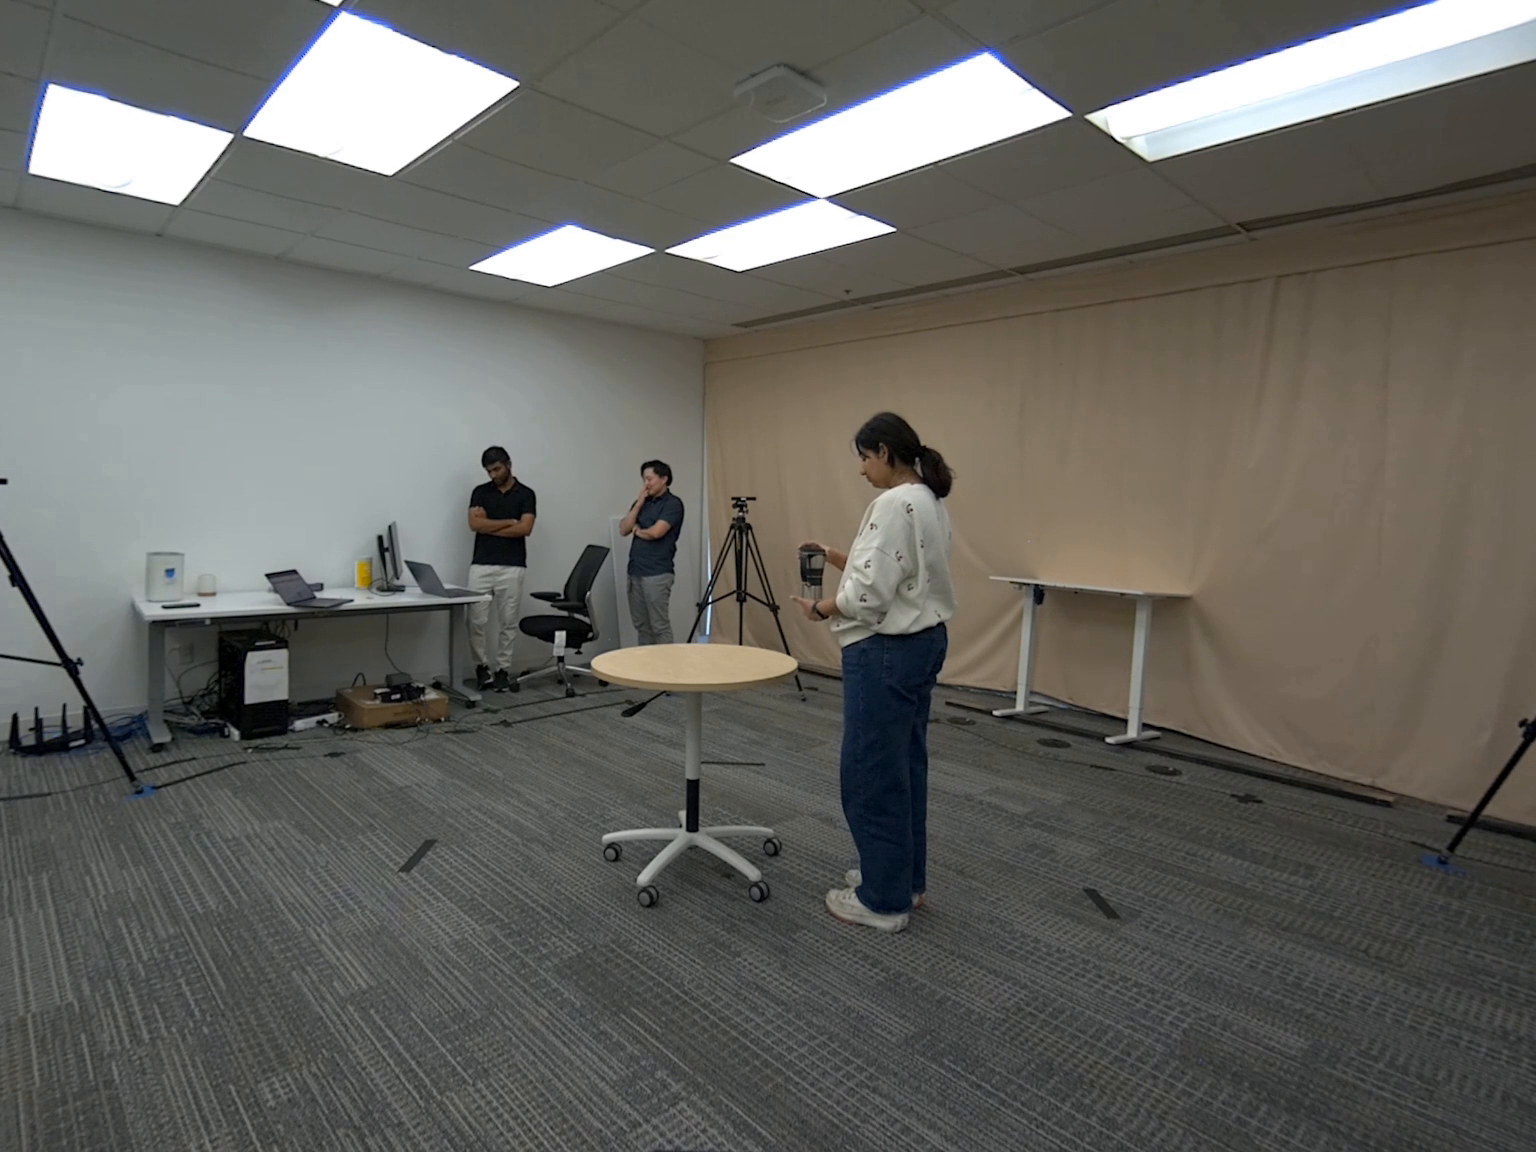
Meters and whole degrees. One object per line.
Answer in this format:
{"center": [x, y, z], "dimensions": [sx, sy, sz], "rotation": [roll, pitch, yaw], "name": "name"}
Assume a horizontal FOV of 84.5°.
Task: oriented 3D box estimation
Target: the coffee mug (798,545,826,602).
{"center": [0.137, 0.005, 2.896], "dimensions": [0.119, 0.203, 0.090], "rotation": [6, -1, -29], "name": "coffee mug"}
